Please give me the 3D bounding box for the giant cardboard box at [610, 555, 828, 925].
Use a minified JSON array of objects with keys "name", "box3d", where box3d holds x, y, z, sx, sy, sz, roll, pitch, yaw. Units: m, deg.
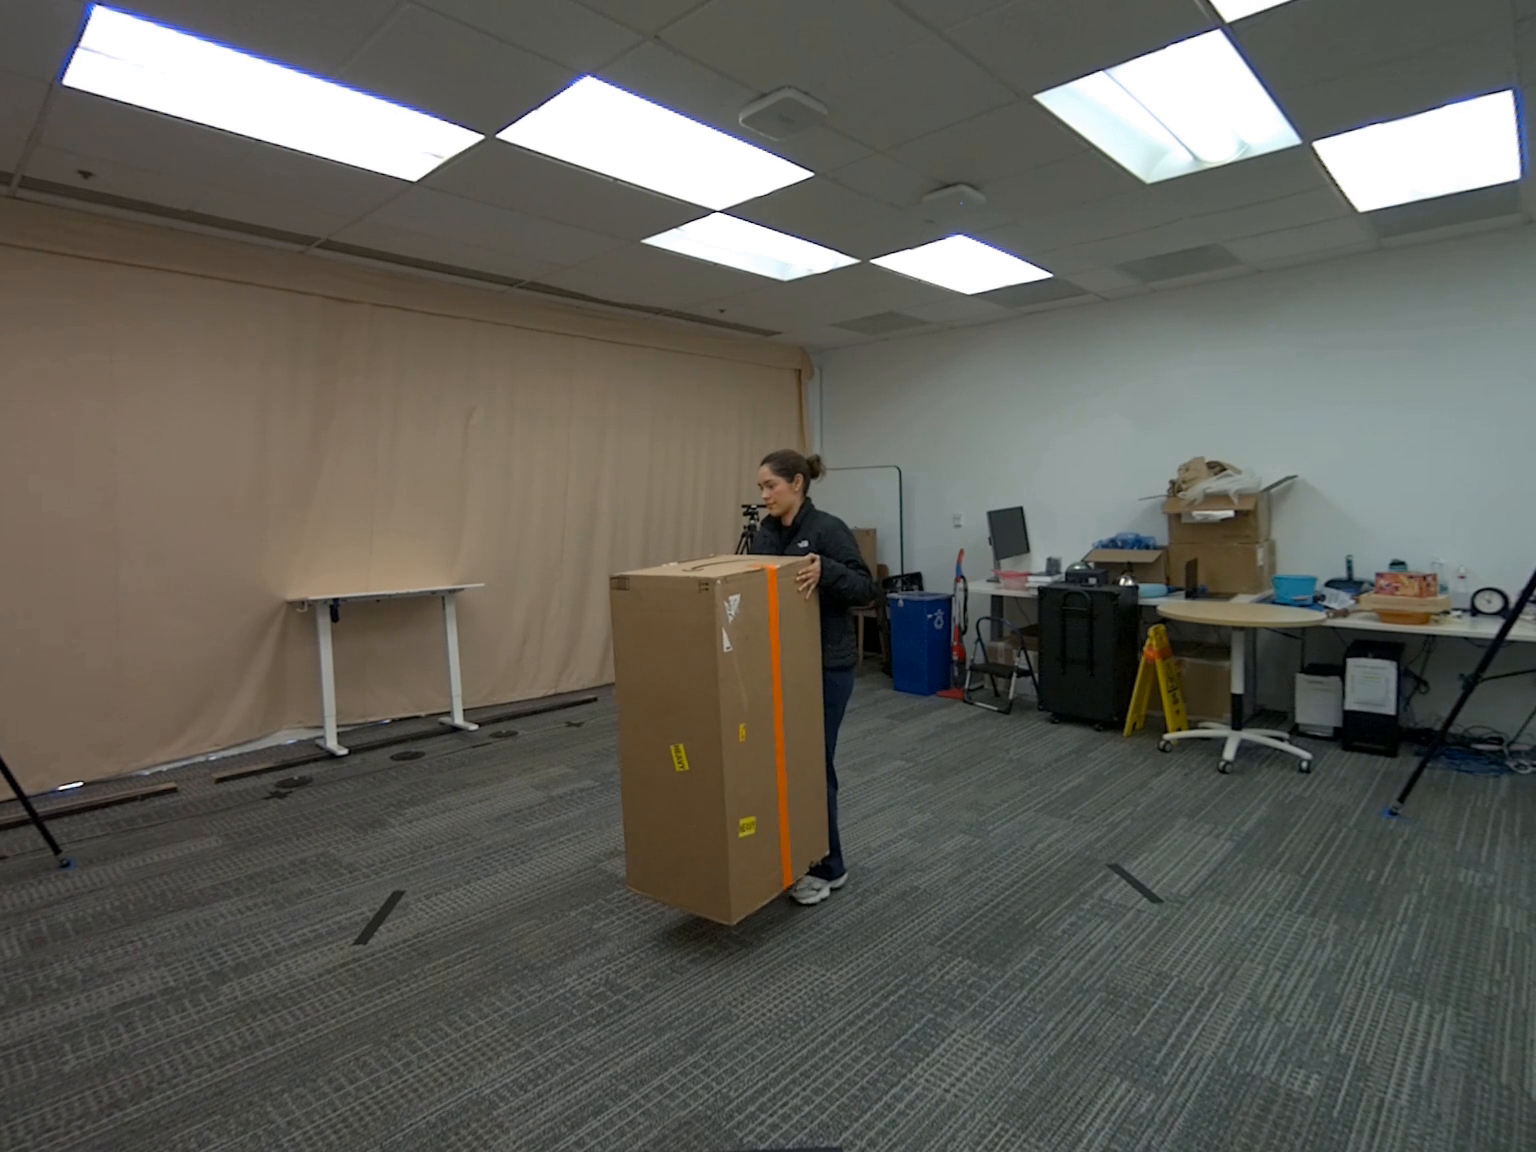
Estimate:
[{"name":"giant cardboard box","box3d":[-0.131,0.483,2.753,0.439,1.023,0.561,0,6,36]}]
